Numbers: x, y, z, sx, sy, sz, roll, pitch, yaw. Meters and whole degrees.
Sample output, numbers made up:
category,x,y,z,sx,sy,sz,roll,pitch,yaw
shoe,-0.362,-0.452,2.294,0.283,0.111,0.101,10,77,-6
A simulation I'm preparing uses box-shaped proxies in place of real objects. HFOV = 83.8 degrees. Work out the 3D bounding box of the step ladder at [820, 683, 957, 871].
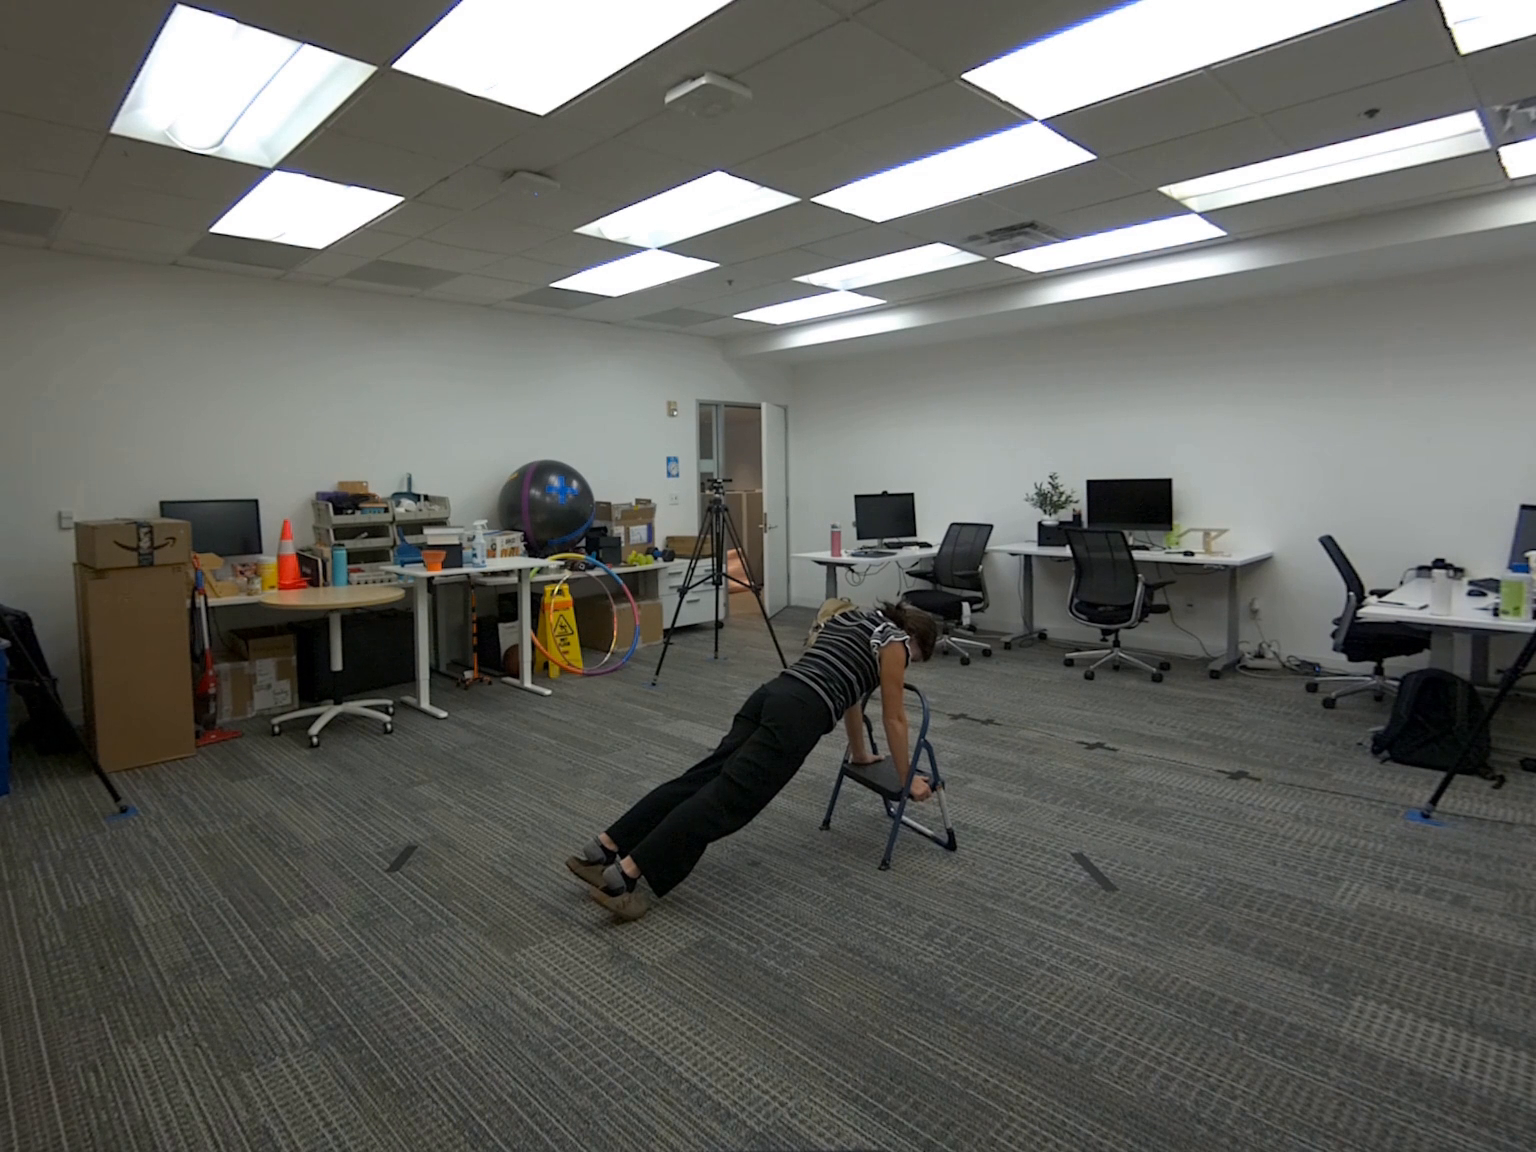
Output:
category,x,y,z,sx,sy,sz,roll,pitch,yaw
step ladder,0.458,0.717,3.279,0.341,0.604,0.442,-2,5,-28
